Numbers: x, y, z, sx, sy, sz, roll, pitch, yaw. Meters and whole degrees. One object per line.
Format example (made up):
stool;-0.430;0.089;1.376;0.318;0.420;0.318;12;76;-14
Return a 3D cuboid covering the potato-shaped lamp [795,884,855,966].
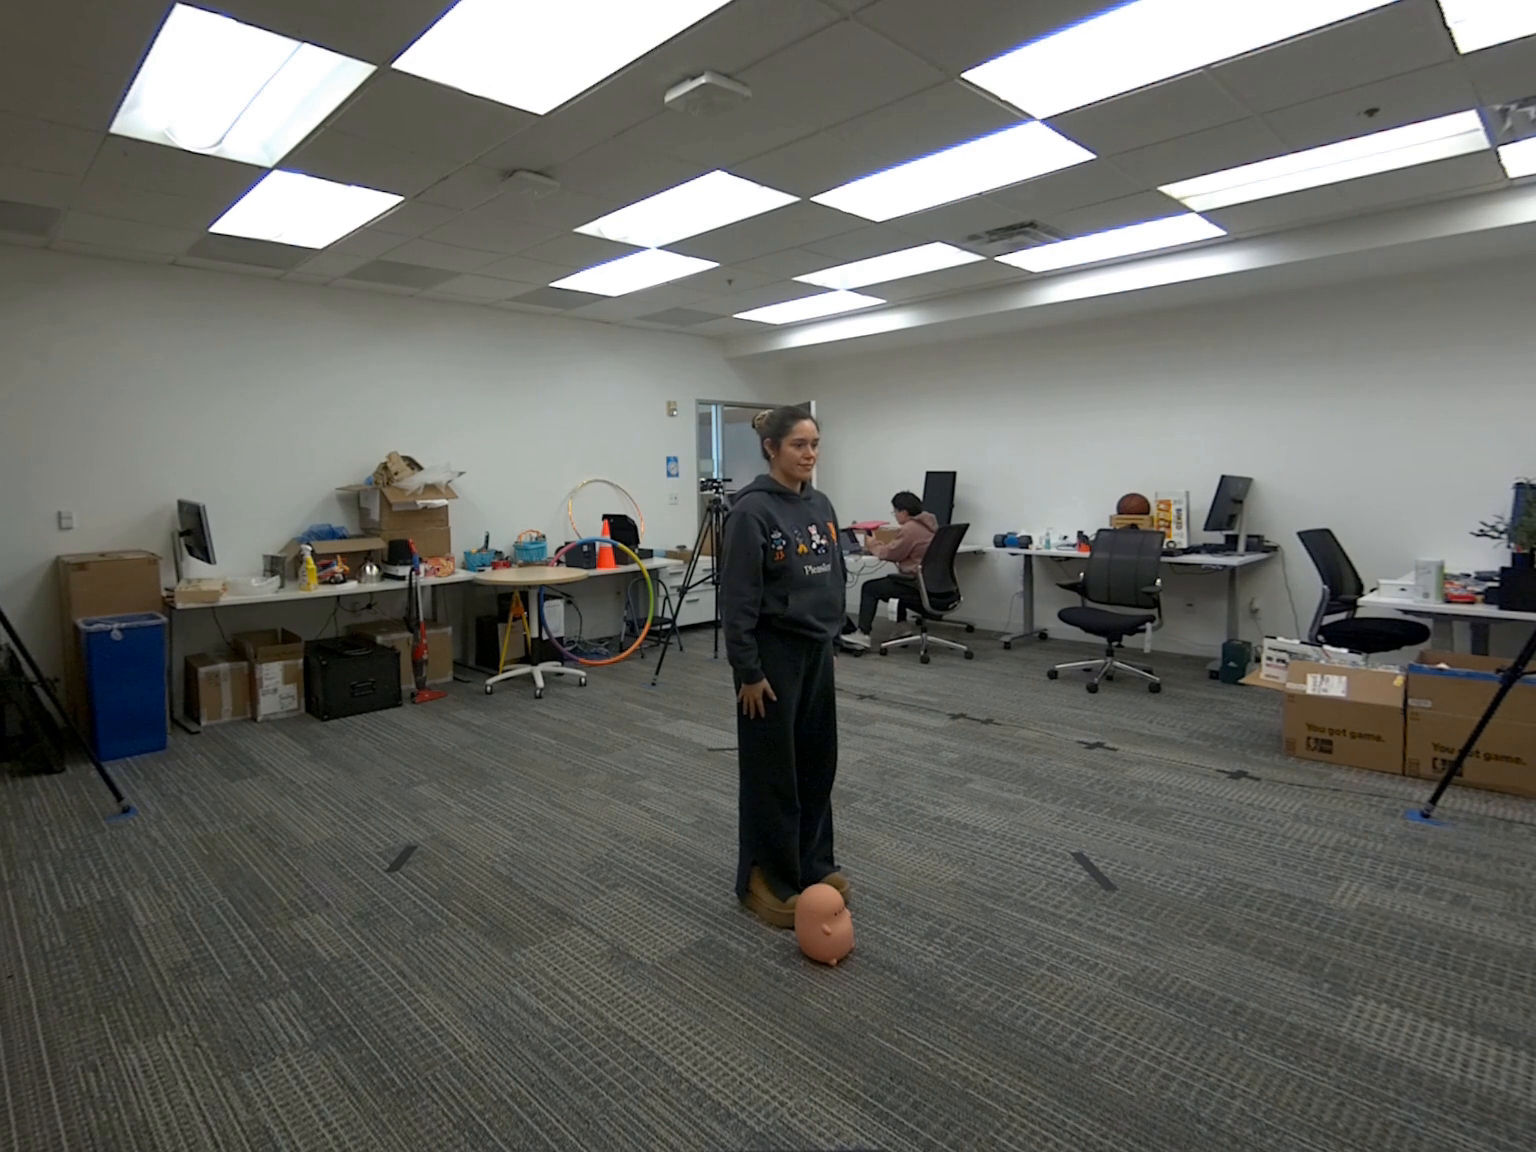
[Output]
potato-shaped lamp;0.167;1.013;2.501;0.177;0.197;0.160;6;8;38
